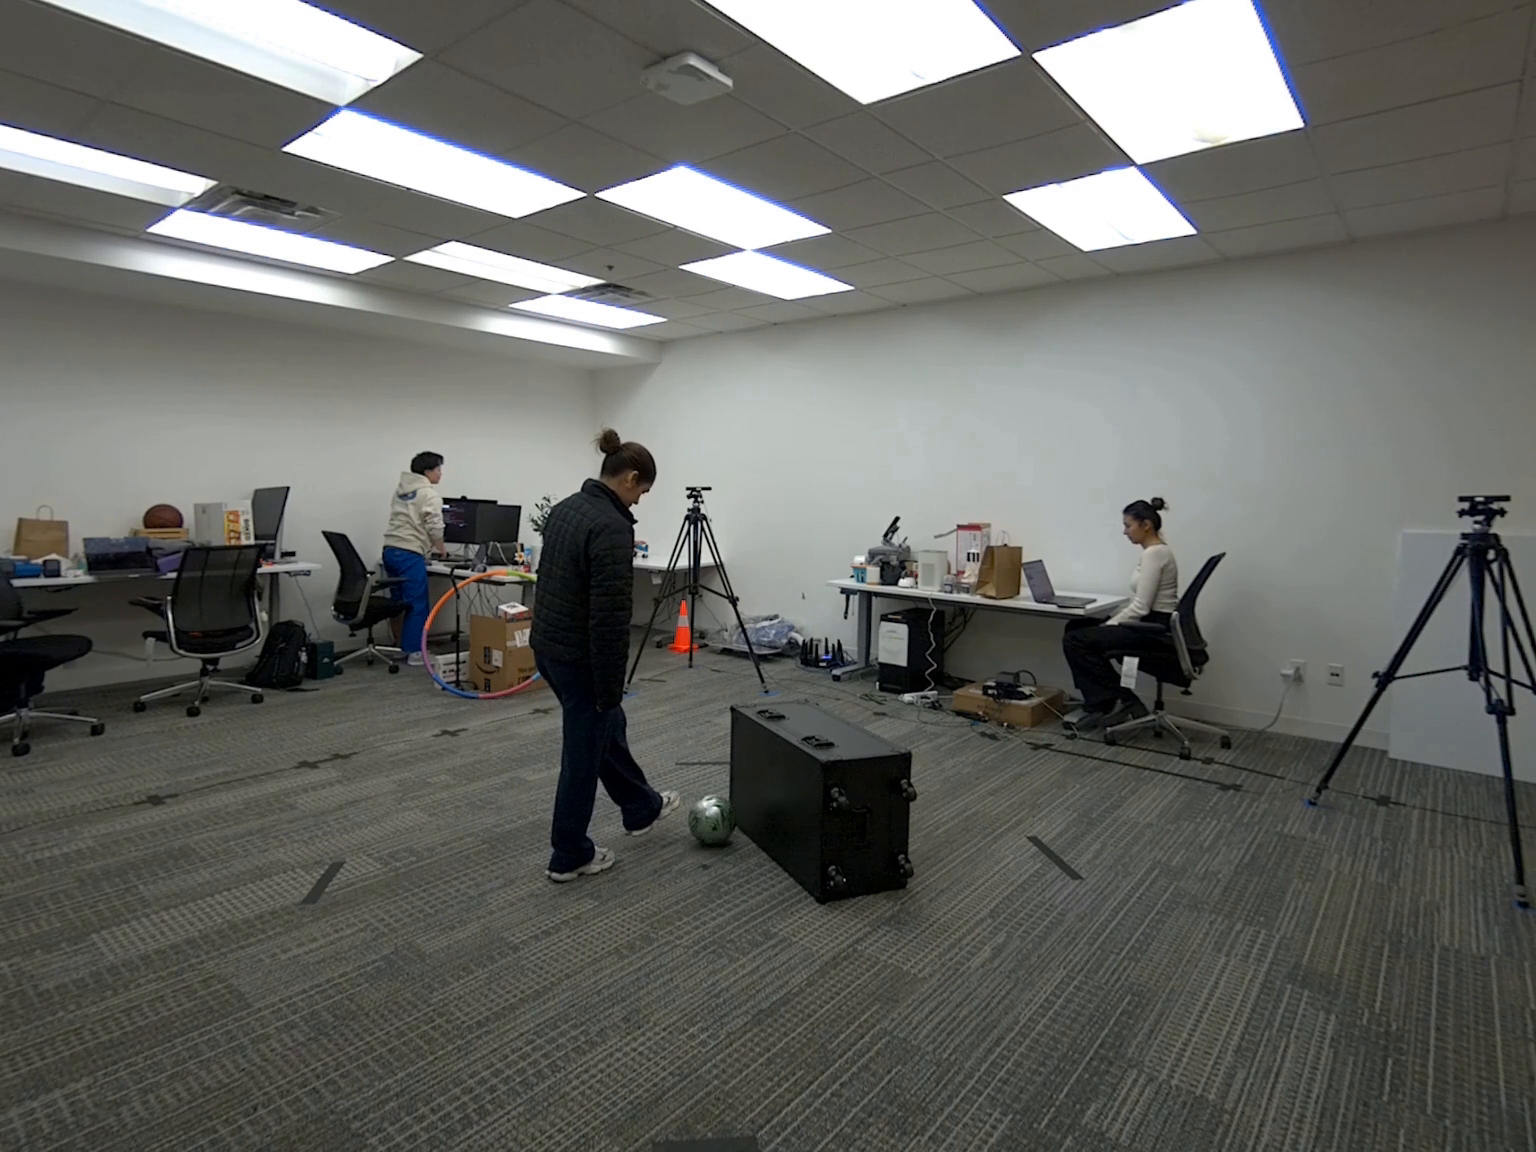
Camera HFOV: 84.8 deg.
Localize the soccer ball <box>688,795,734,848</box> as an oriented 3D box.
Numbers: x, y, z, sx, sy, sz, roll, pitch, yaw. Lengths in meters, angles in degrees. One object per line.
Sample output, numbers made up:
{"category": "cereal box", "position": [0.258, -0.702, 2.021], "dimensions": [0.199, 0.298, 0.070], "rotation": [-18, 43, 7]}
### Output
{"category": "soccer ball", "position": [-0.233, 0.957, 3.331], "dimensions": [0.187, 0.187, 0.188], "rotation": [1, 4, -2]}
